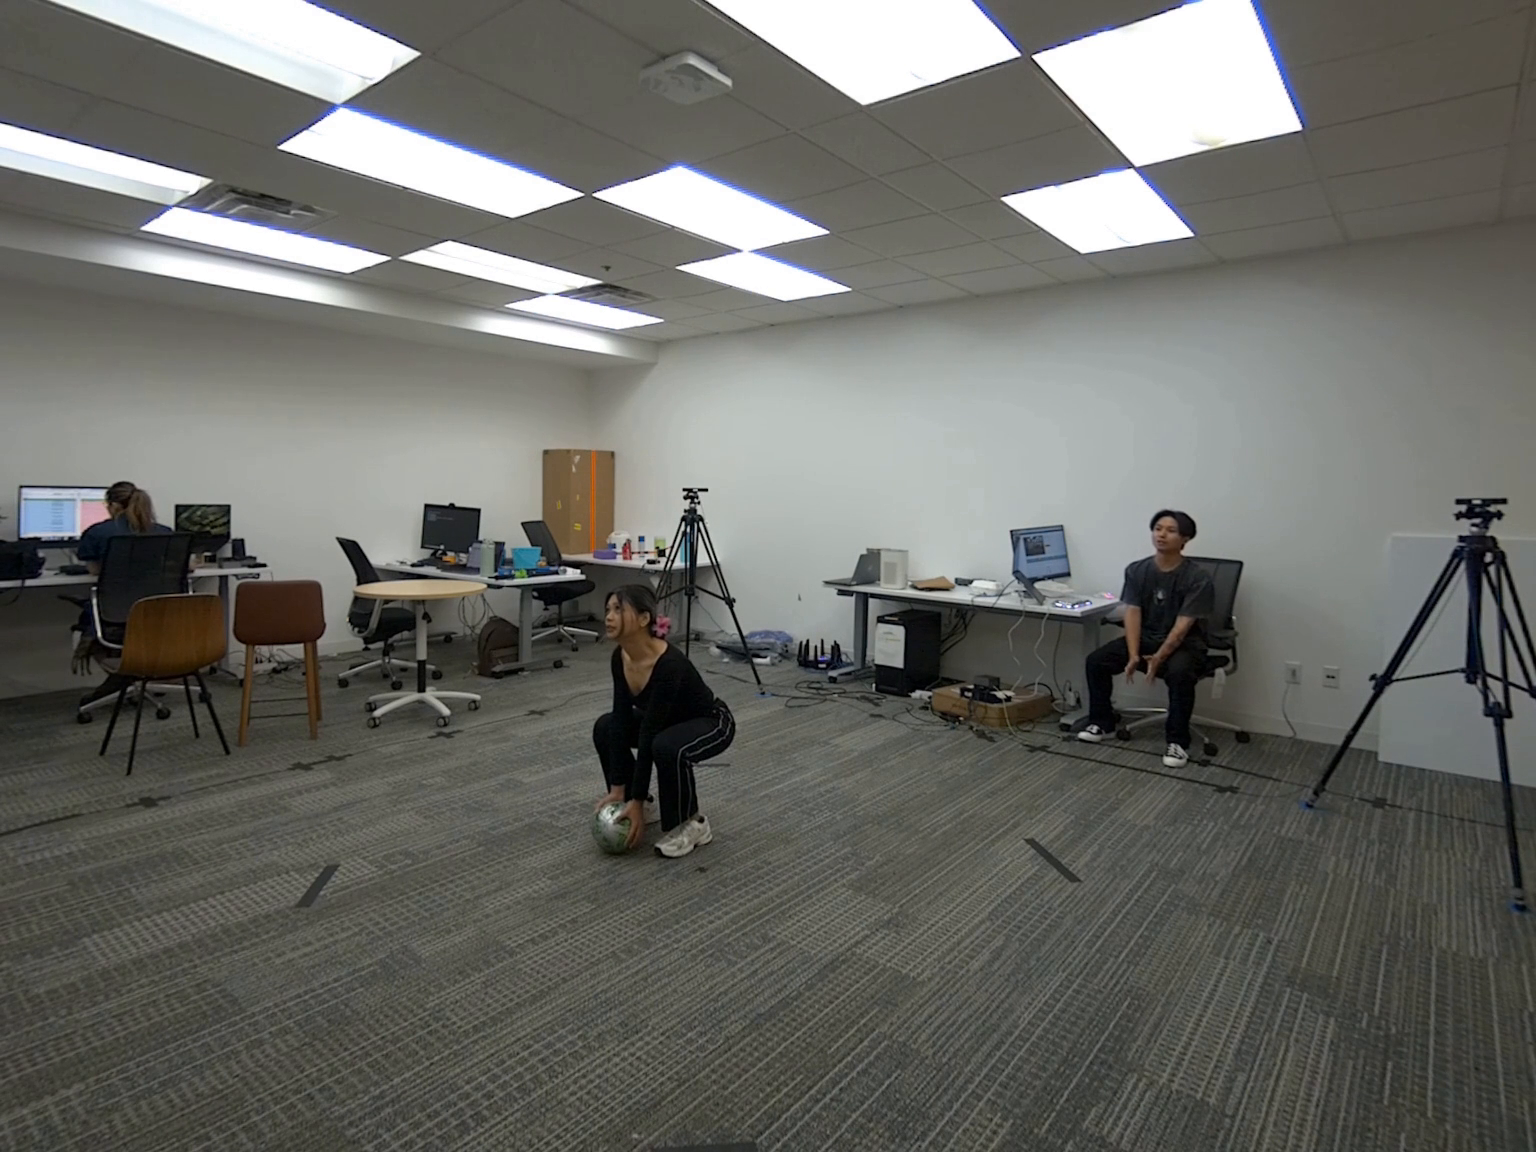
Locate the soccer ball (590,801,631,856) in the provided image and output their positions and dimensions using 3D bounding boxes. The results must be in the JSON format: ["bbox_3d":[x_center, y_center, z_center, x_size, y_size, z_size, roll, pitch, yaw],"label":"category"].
[{"bbox_3d":[-0.596,0.952,3.261,0.187,0.187,0.188,1,4,-2],"label":"soccer ball"}]
